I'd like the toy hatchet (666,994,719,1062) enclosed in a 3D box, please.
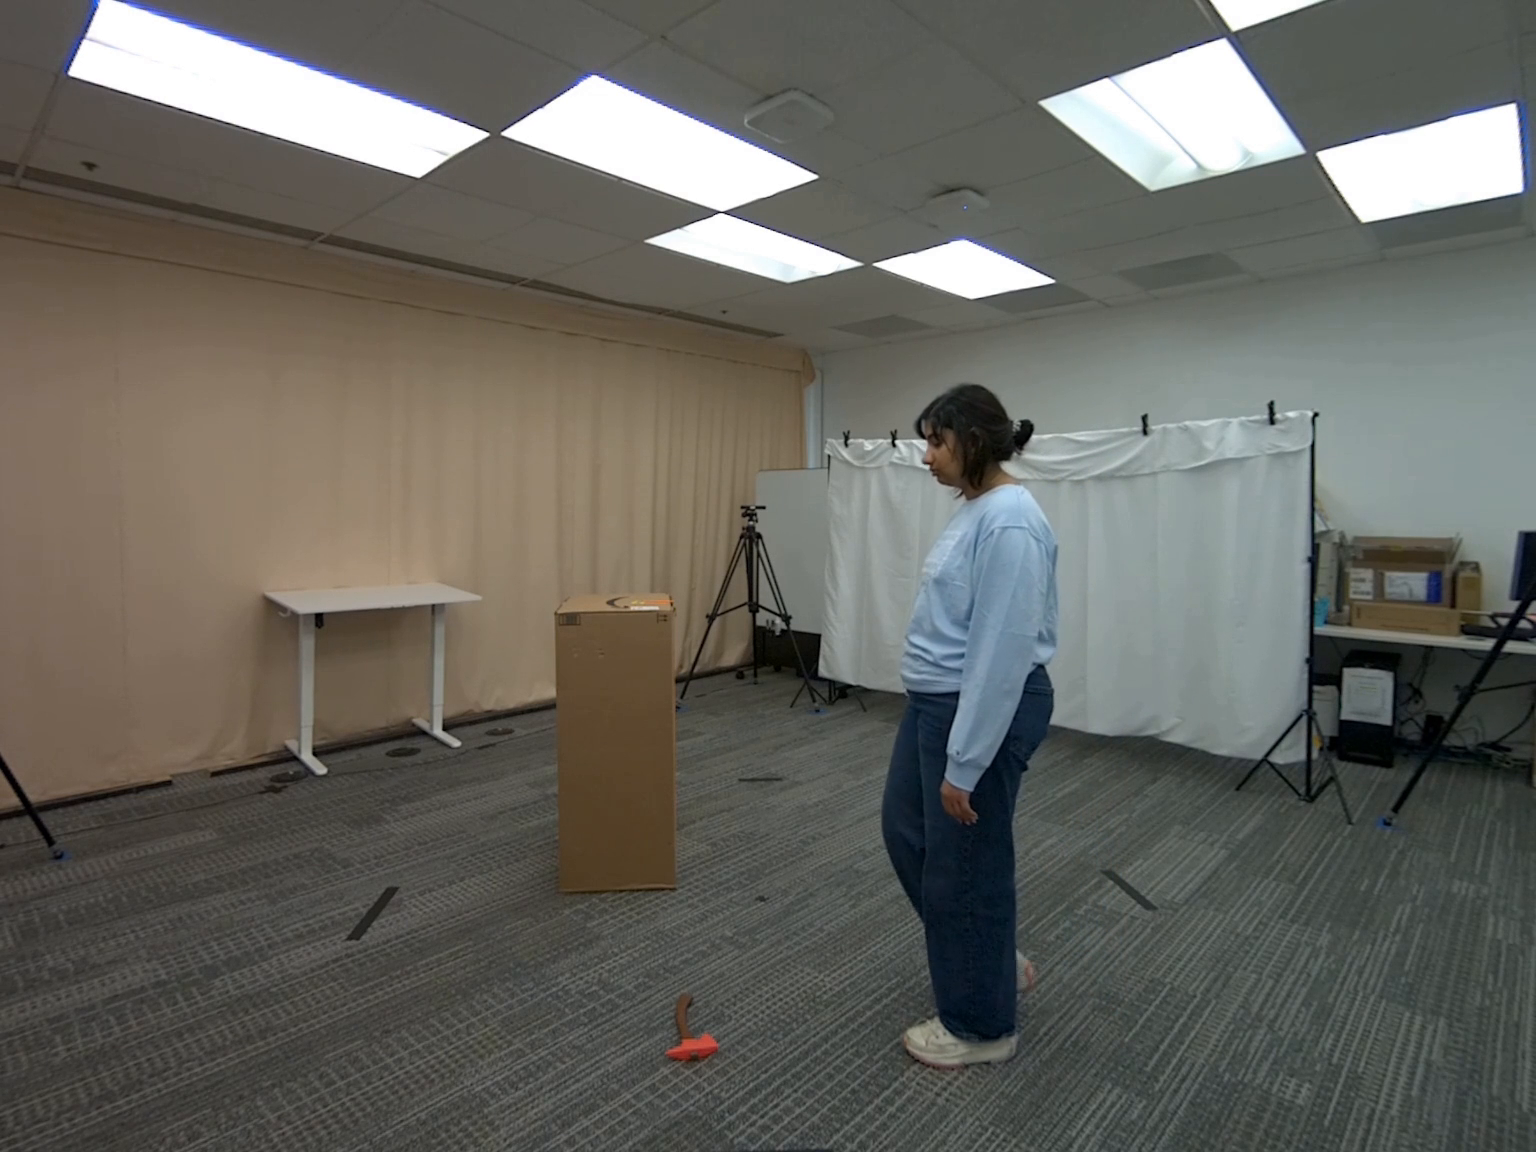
[{"bbox_3d":[-0.188,1.197,2.234,0.132,0.029,0.269,-1,4,4],"label":"toy hatchet"}]
